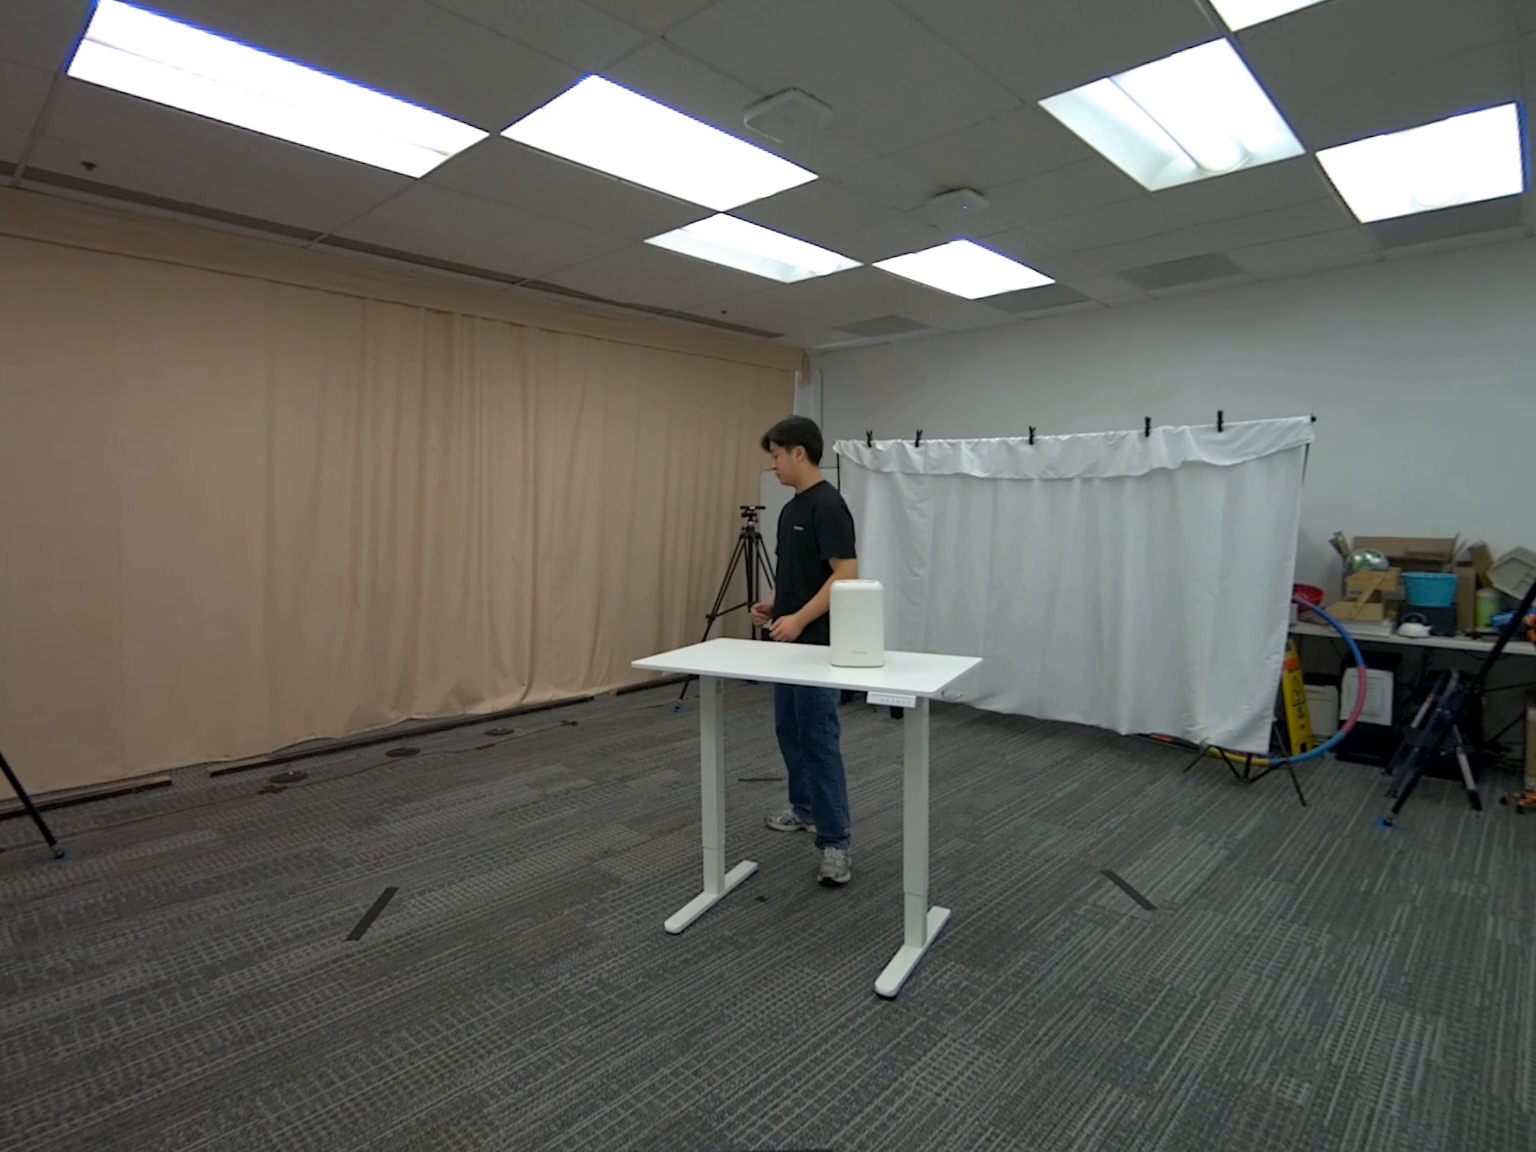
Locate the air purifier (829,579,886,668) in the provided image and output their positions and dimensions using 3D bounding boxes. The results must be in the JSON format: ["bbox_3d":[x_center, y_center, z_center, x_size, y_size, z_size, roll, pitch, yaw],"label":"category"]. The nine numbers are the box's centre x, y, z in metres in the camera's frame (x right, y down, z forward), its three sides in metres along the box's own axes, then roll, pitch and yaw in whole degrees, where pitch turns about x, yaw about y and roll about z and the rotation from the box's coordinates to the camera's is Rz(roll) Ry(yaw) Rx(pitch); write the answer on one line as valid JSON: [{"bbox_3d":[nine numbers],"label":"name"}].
[{"bbox_3d":[0.291,0.149,2.713,0.172,0.265,0.170,0,2,6],"label":"air purifier"}]
